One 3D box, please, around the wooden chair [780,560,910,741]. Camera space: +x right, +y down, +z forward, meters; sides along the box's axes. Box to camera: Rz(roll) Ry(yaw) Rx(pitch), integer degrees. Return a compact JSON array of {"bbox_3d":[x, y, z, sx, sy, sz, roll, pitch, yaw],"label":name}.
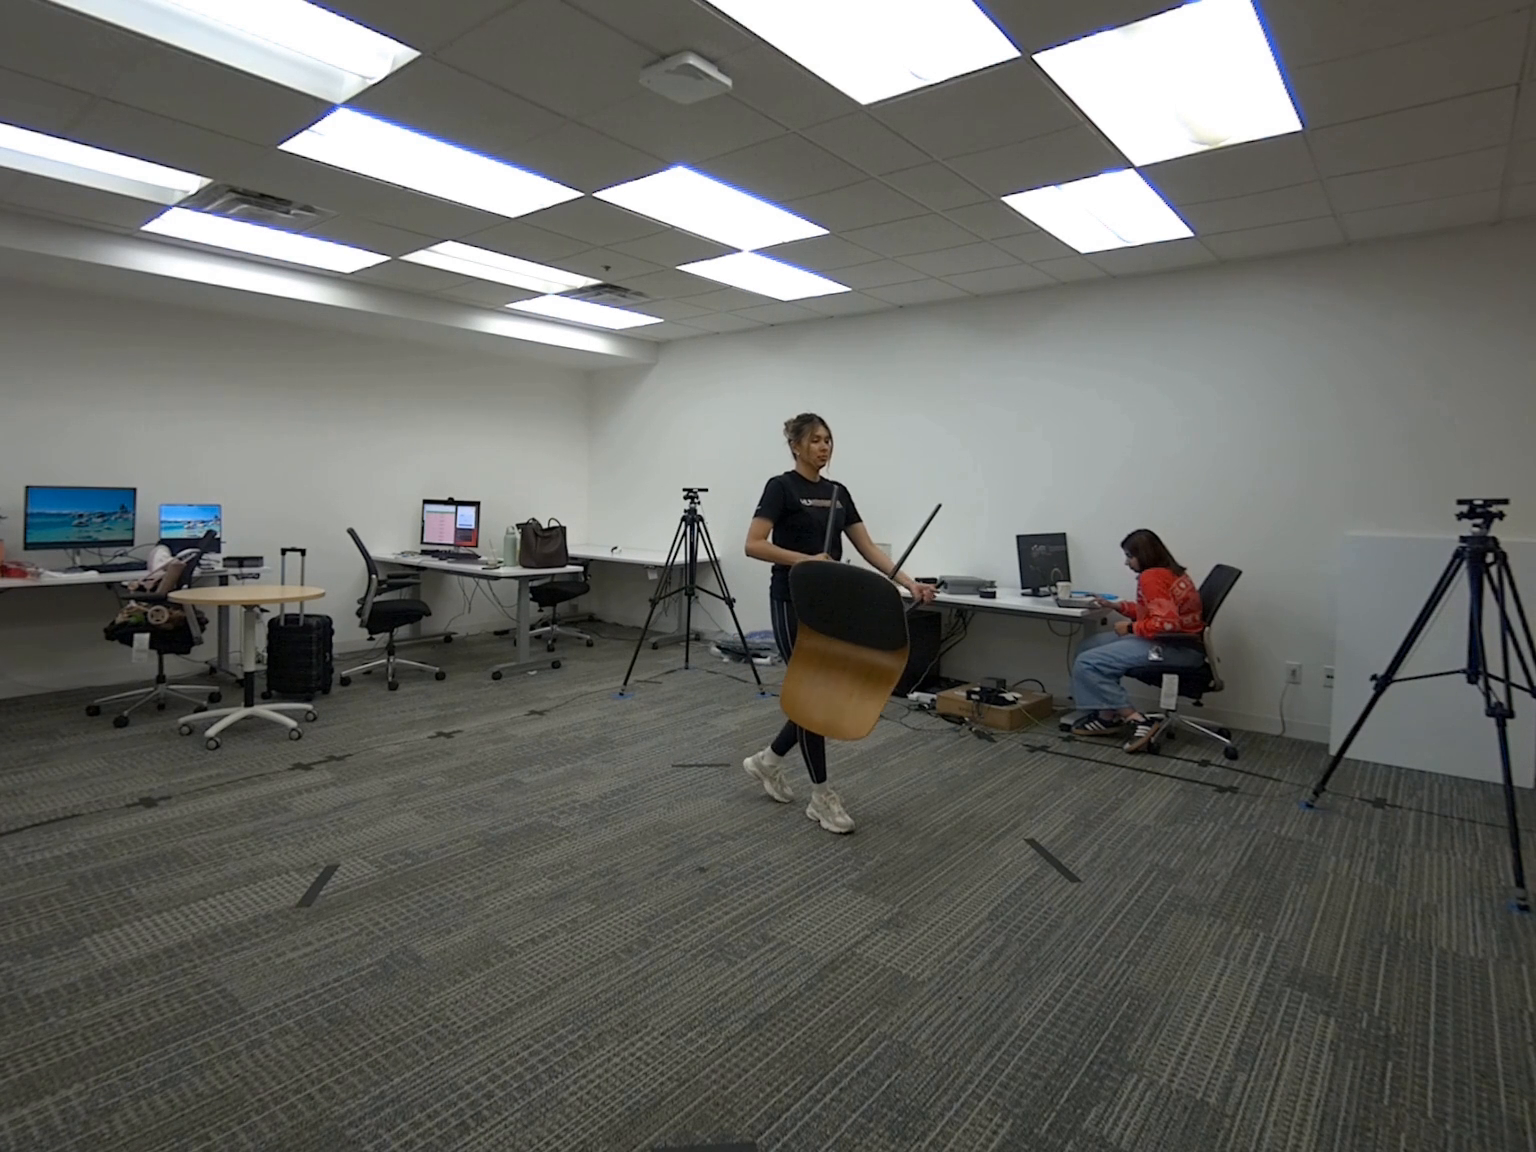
[{"bbox_3d":[0.314,0.119,3.316,0.492,0.884,0.504,13,-35,25],"label":"wooden chair"}]
